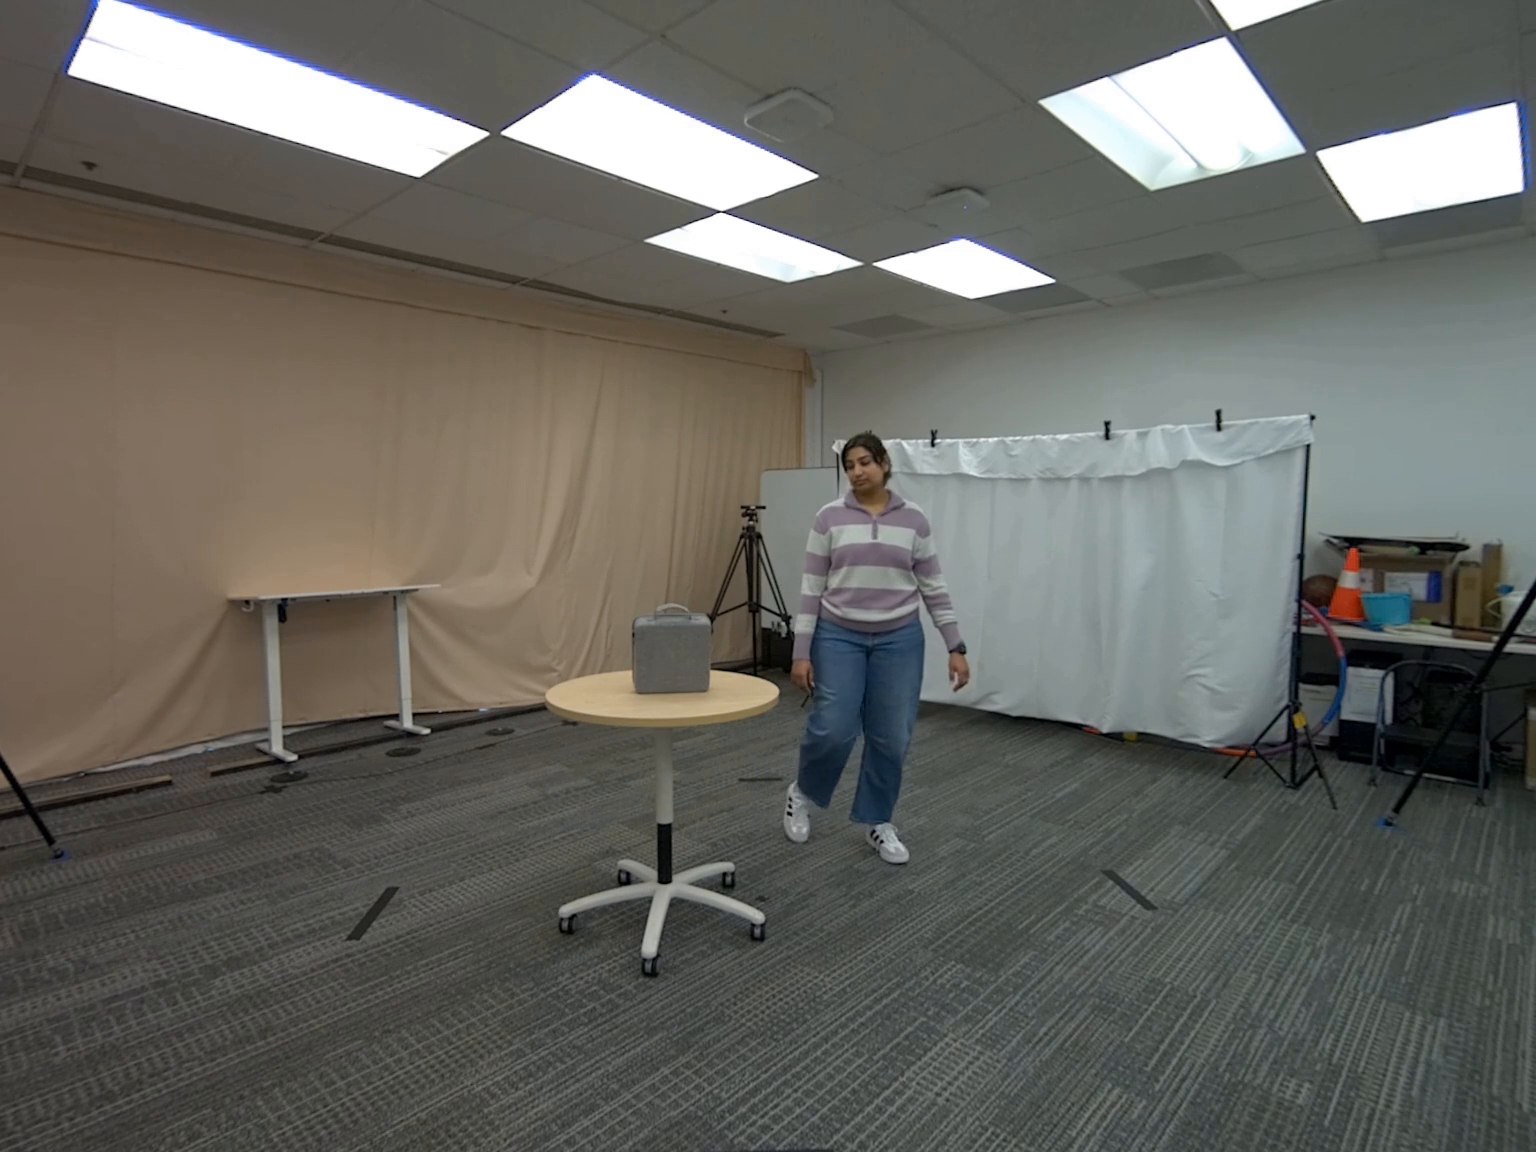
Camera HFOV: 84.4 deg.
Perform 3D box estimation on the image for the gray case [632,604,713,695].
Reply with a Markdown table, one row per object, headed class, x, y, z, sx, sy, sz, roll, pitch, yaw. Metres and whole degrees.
| class | x | y | z | sx | sy | sz | roll | pitch | yaw |
| --- | --- | --- | --- | --- | --- | --- | --- | --- | --- |
| gray case | -0.311 | 0.250 | 2.746 | 0.255 | 0.259 | 0.106 | -1 | 12 | -7 |
